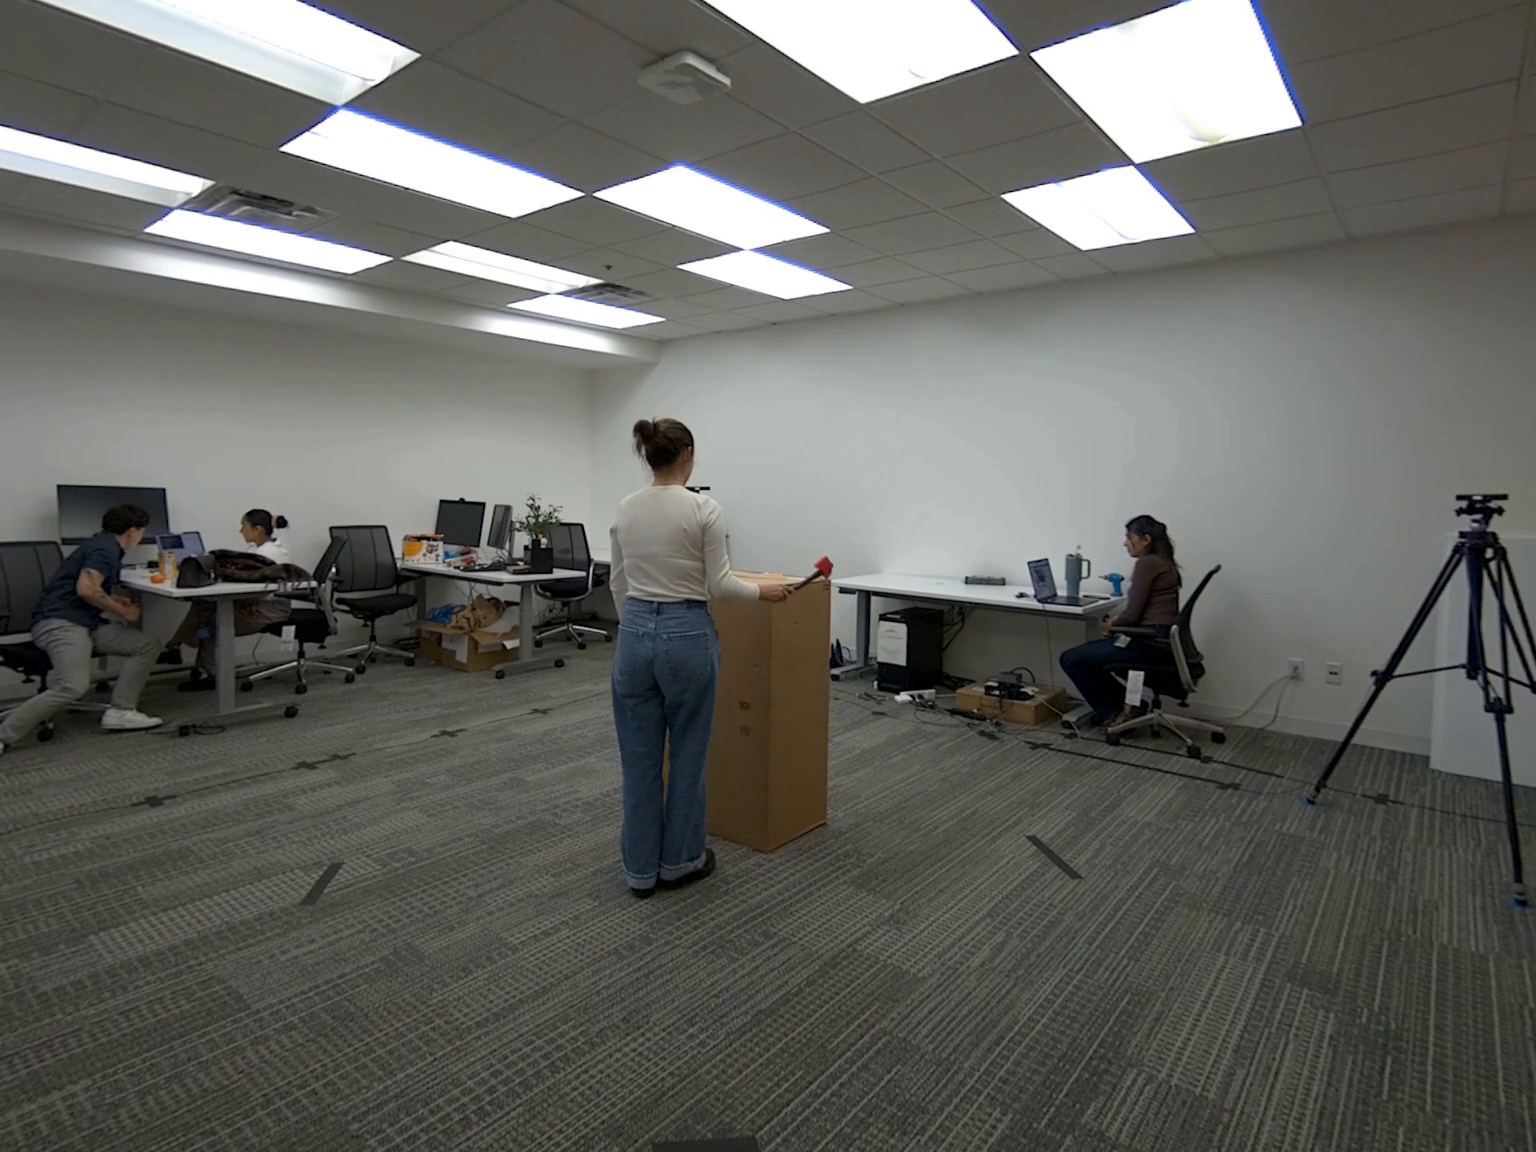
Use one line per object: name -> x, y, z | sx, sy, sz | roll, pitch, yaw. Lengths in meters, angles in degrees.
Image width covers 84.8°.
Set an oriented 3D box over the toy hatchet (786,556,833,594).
toy hatchet -> 0.112, 0.013, 3.078 | 0.265, 0.128, 0.031 | -17, 49, -30
